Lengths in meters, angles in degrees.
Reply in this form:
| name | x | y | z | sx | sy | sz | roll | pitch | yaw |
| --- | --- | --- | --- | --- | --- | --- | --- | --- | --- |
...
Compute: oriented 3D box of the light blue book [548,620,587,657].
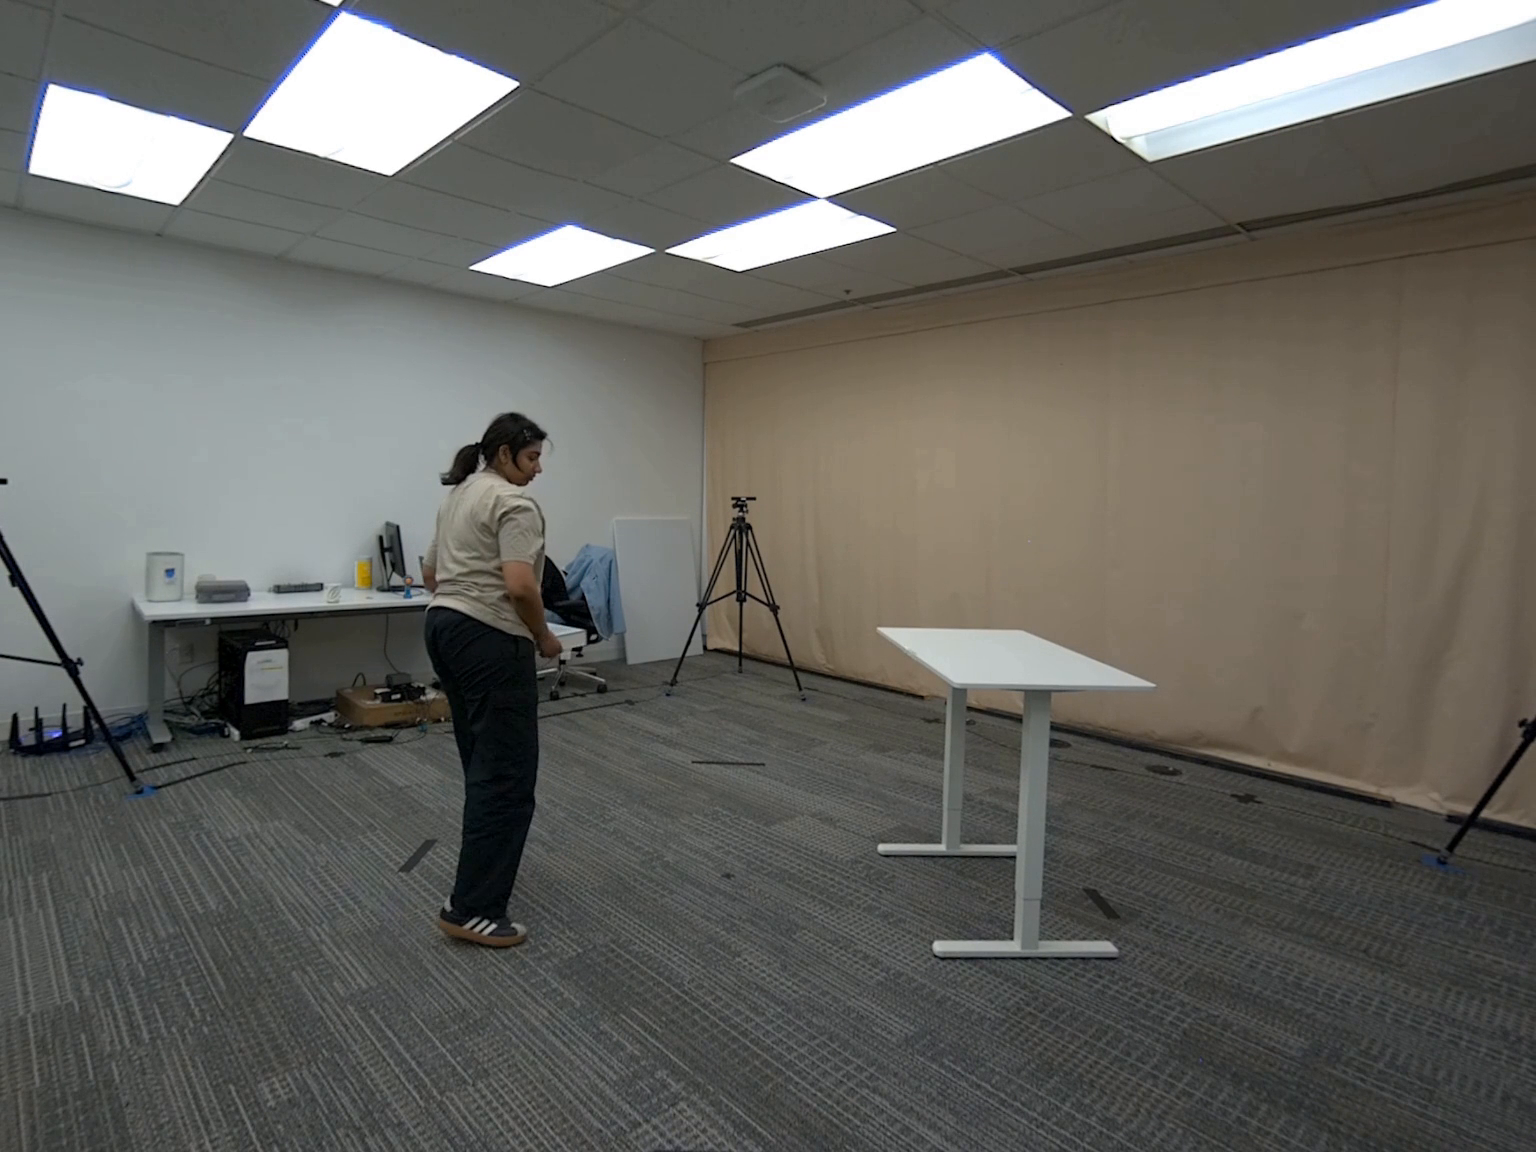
| name | x | y | z | sx | sy | sz | roll | pitch | yaw |
| --- | --- | --- | --- | --- | --- | --- | --- | --- | --- |
| light blue book | -0.833 | 0.225 | 3.085 | 0.267 | 0.059 | 0.187 | 6 | 9 | 34 |
